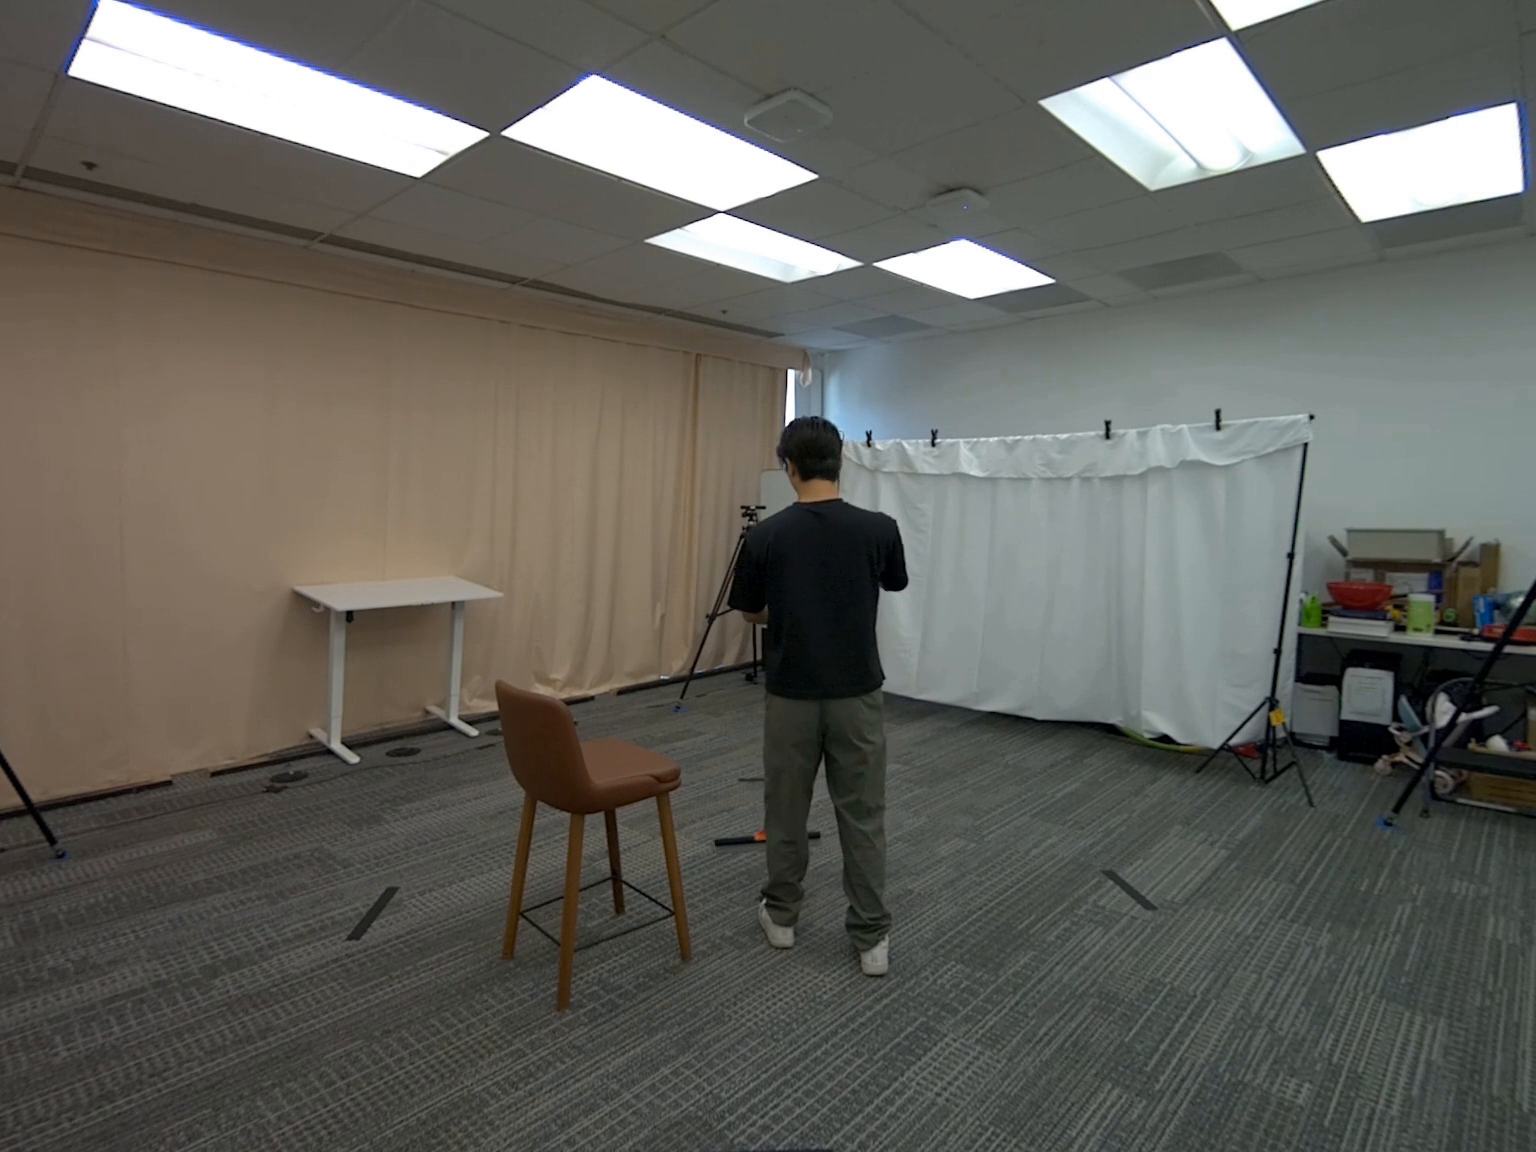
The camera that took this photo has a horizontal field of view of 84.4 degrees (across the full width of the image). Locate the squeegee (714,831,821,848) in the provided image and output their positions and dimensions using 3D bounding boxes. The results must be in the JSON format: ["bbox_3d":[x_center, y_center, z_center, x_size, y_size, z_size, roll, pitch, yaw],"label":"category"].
[{"bbox_3d":[0.110,0.265,3.003,0.426,1.531,0.054,4,9,-27],"label":"squeegee"}]
